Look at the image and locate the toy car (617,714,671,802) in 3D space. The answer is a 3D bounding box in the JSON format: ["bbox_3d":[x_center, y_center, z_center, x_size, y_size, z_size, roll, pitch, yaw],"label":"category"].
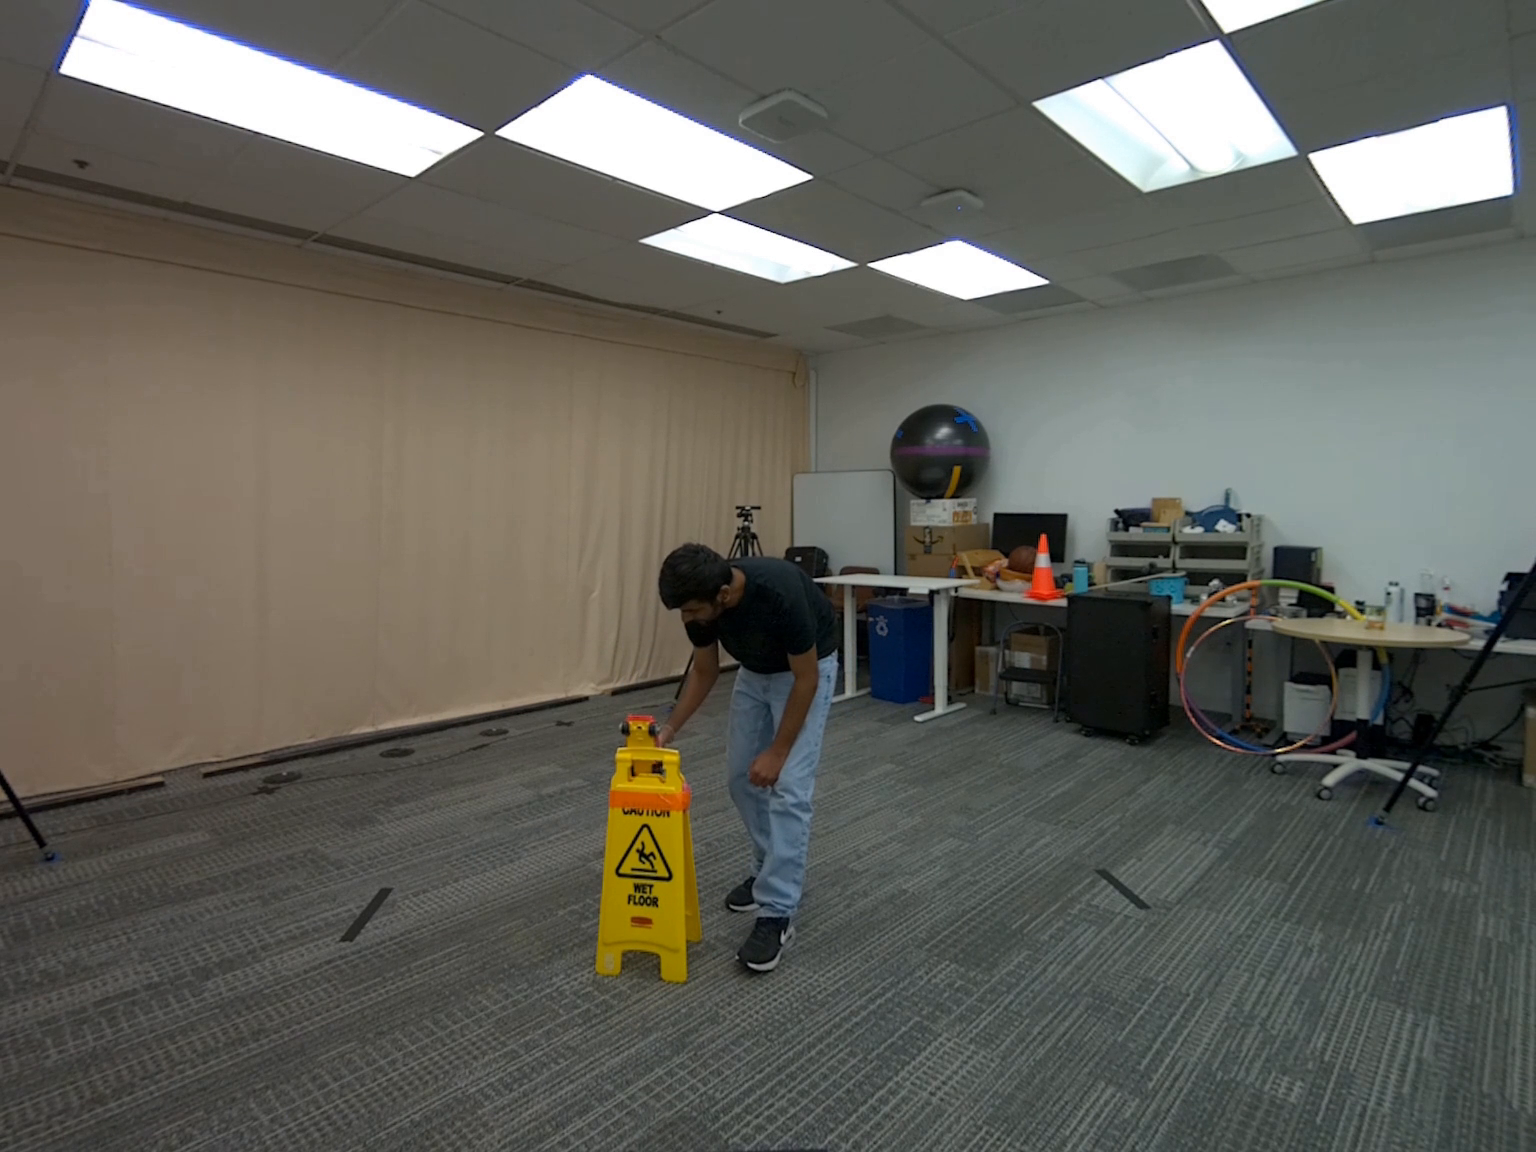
[{"bbox_3d":[-0.382,0.561,2.615,0.131,0.251,0.083,1,21,7],"label":"toy car"}]
